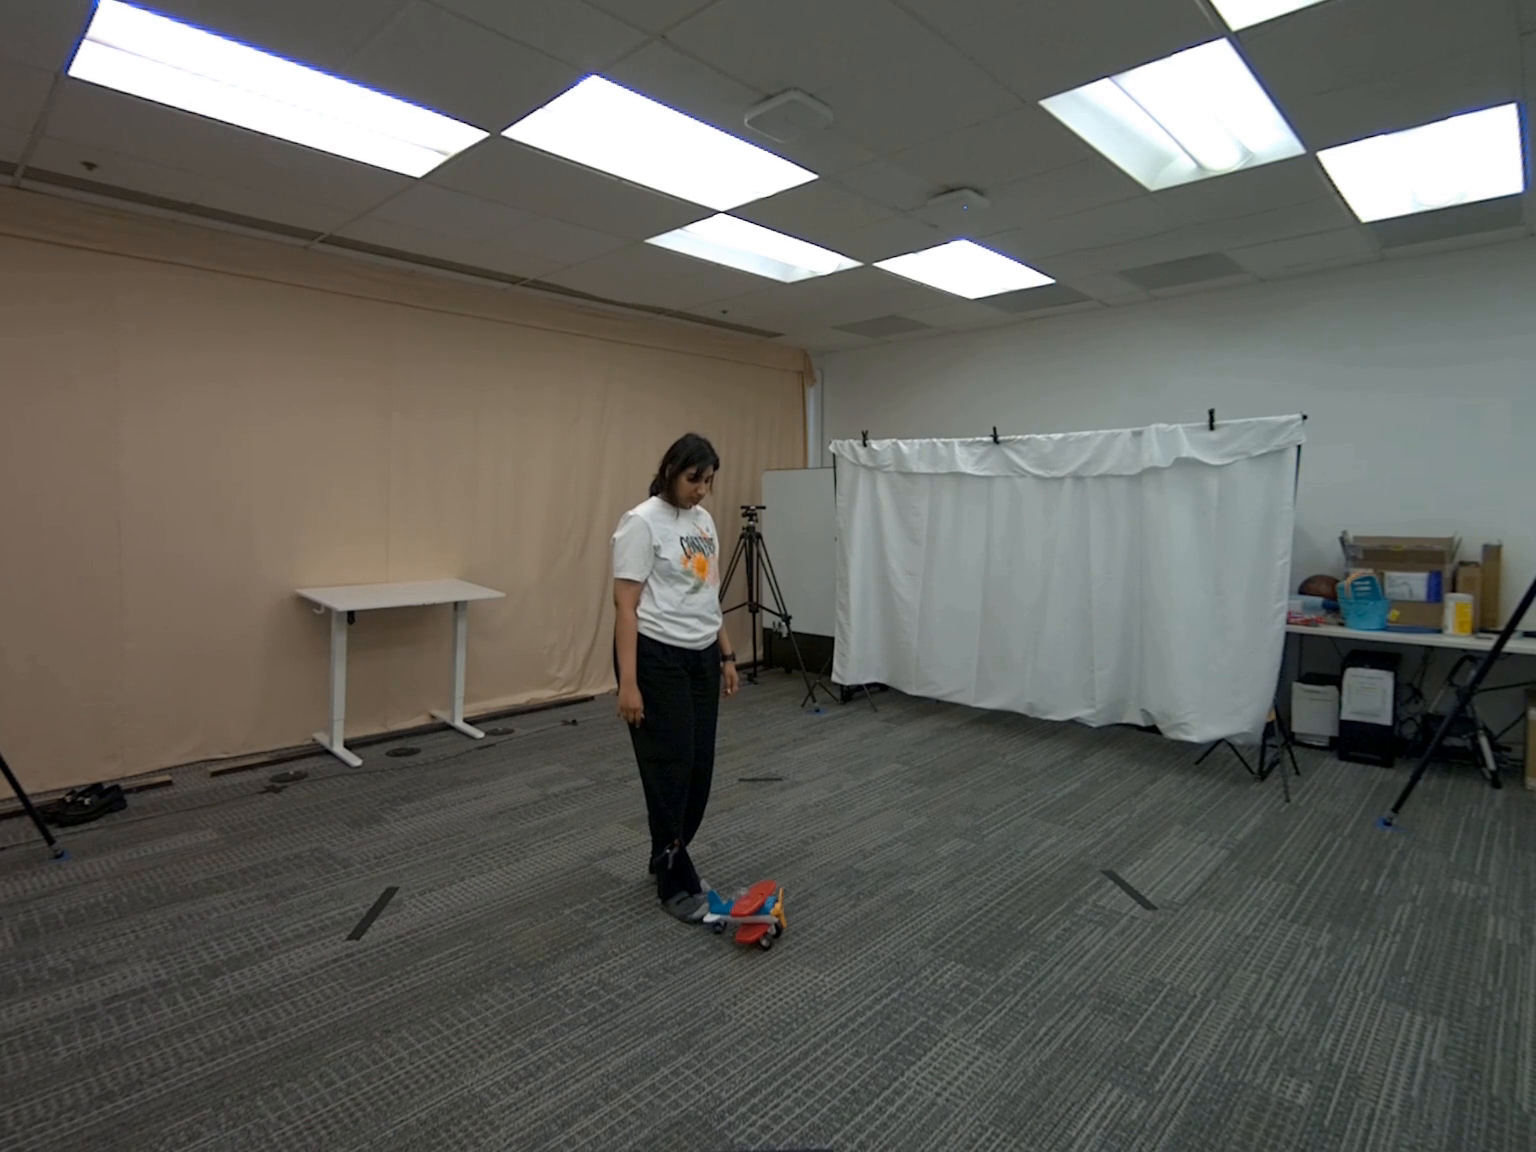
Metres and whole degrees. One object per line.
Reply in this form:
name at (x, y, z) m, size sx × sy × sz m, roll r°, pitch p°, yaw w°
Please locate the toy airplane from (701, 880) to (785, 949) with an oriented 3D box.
toy airplane at (-0.075, 1.092, 2.692) m, size 0.258 × 0.156 × 0.253 m, roll 0°, pitch 5°, yaw -5°
